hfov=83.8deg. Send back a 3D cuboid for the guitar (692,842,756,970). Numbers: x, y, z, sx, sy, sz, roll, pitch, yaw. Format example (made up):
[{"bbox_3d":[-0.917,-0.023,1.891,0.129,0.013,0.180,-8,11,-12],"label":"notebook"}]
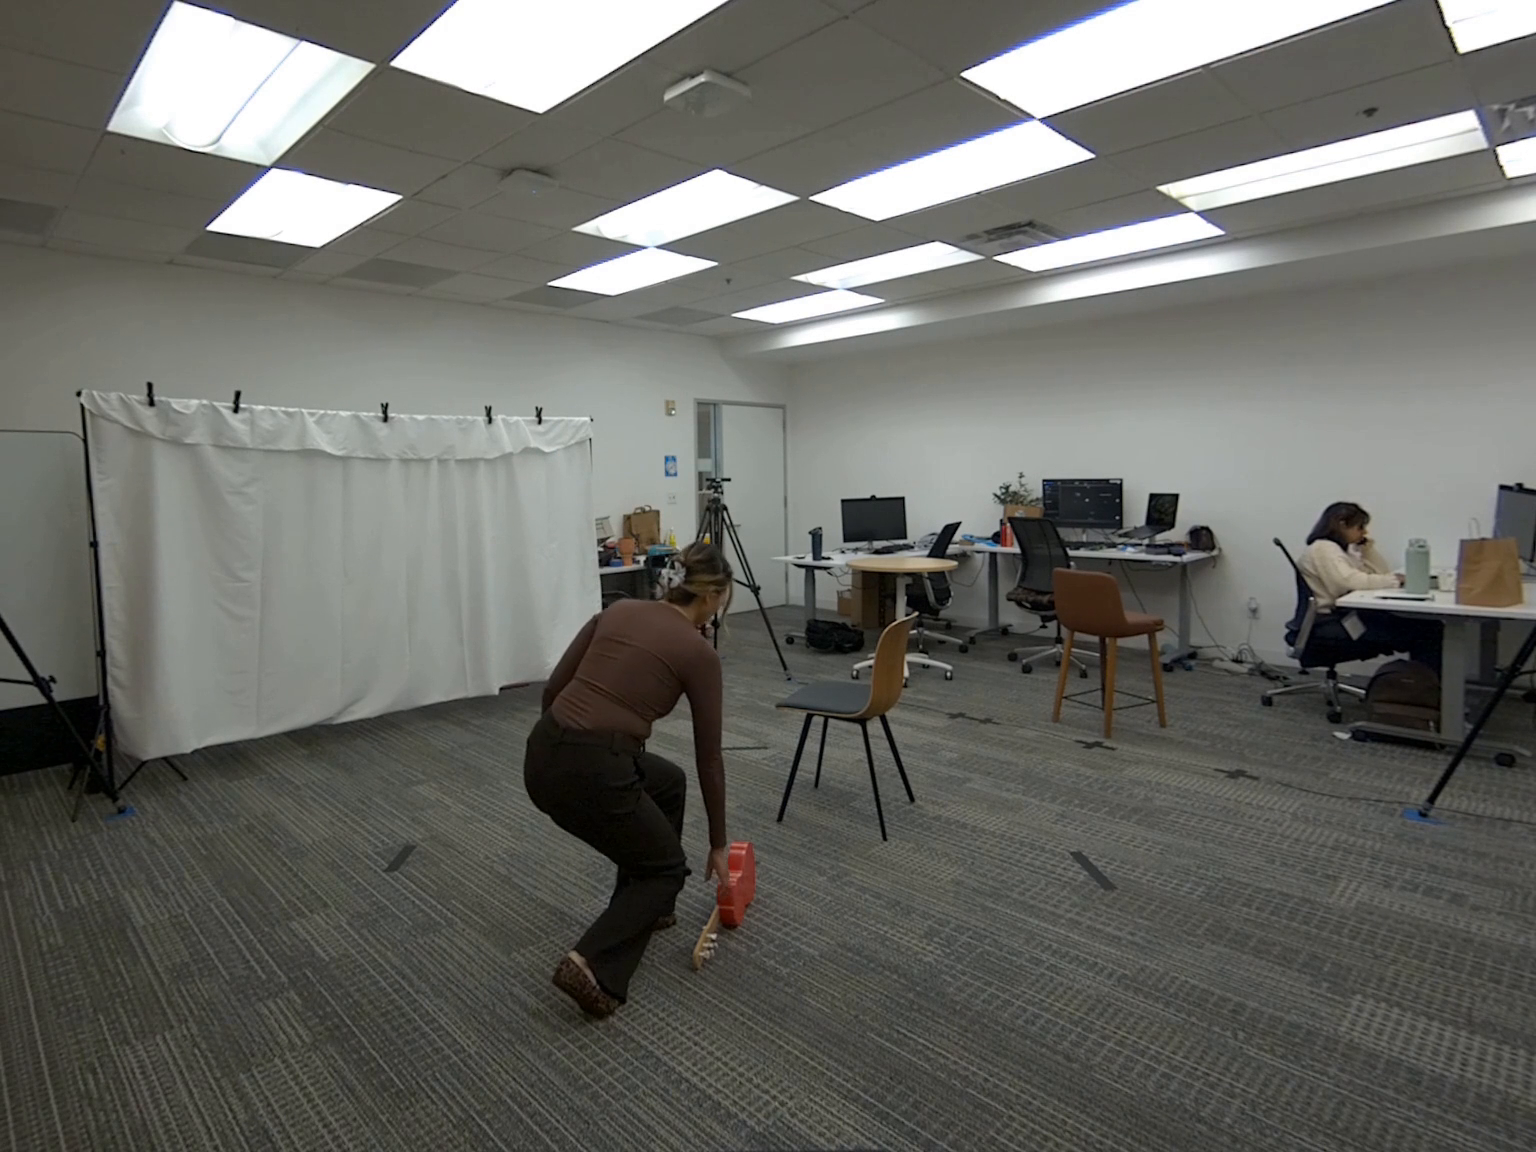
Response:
[{"bbox_3d":[-0.125,1.055,2.661,0.072,0.189,0.502,-2,24,13],"label":"guitar"}]
